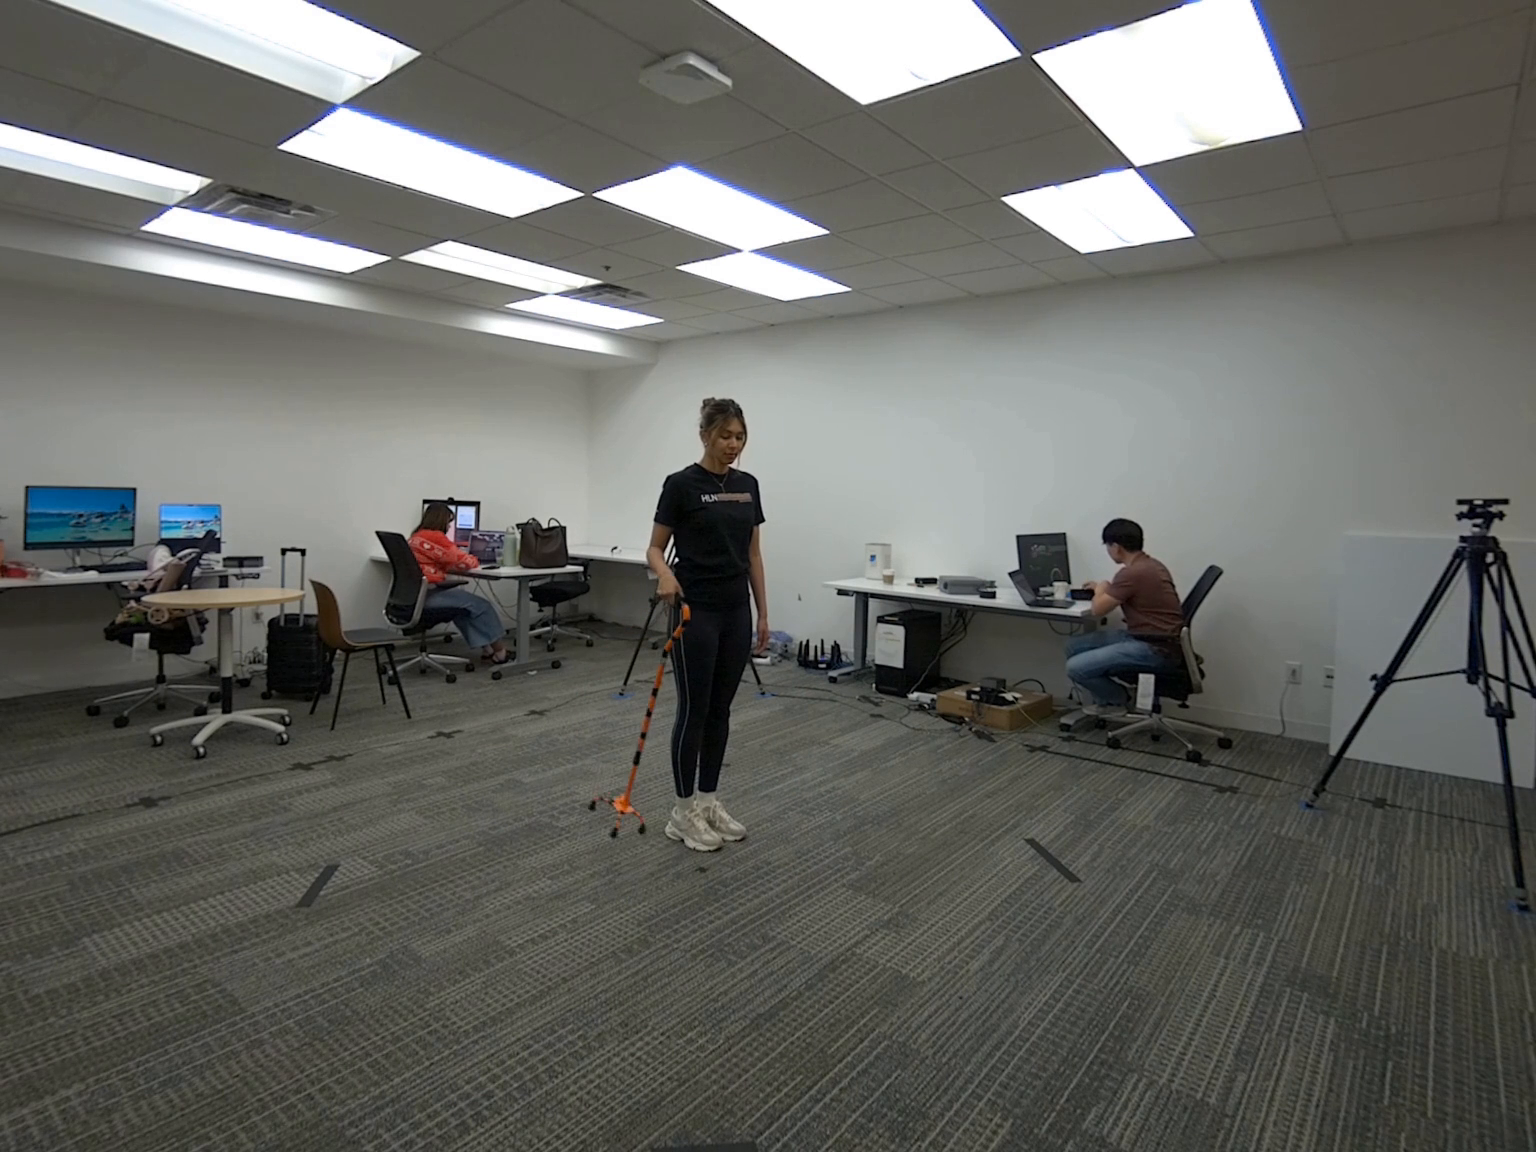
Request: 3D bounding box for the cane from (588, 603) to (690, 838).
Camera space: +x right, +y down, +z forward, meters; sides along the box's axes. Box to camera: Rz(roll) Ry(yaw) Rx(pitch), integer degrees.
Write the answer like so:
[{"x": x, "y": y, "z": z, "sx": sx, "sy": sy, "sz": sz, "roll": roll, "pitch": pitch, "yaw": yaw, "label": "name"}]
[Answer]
[{"x": -0.458, "y": 0.489, "z": 3.118, "sx": 0.146, "sy": 0.900, "sz": 0.215, "roll": 5, "pitch": 17, "yaw": -39, "label": "cane"}]
